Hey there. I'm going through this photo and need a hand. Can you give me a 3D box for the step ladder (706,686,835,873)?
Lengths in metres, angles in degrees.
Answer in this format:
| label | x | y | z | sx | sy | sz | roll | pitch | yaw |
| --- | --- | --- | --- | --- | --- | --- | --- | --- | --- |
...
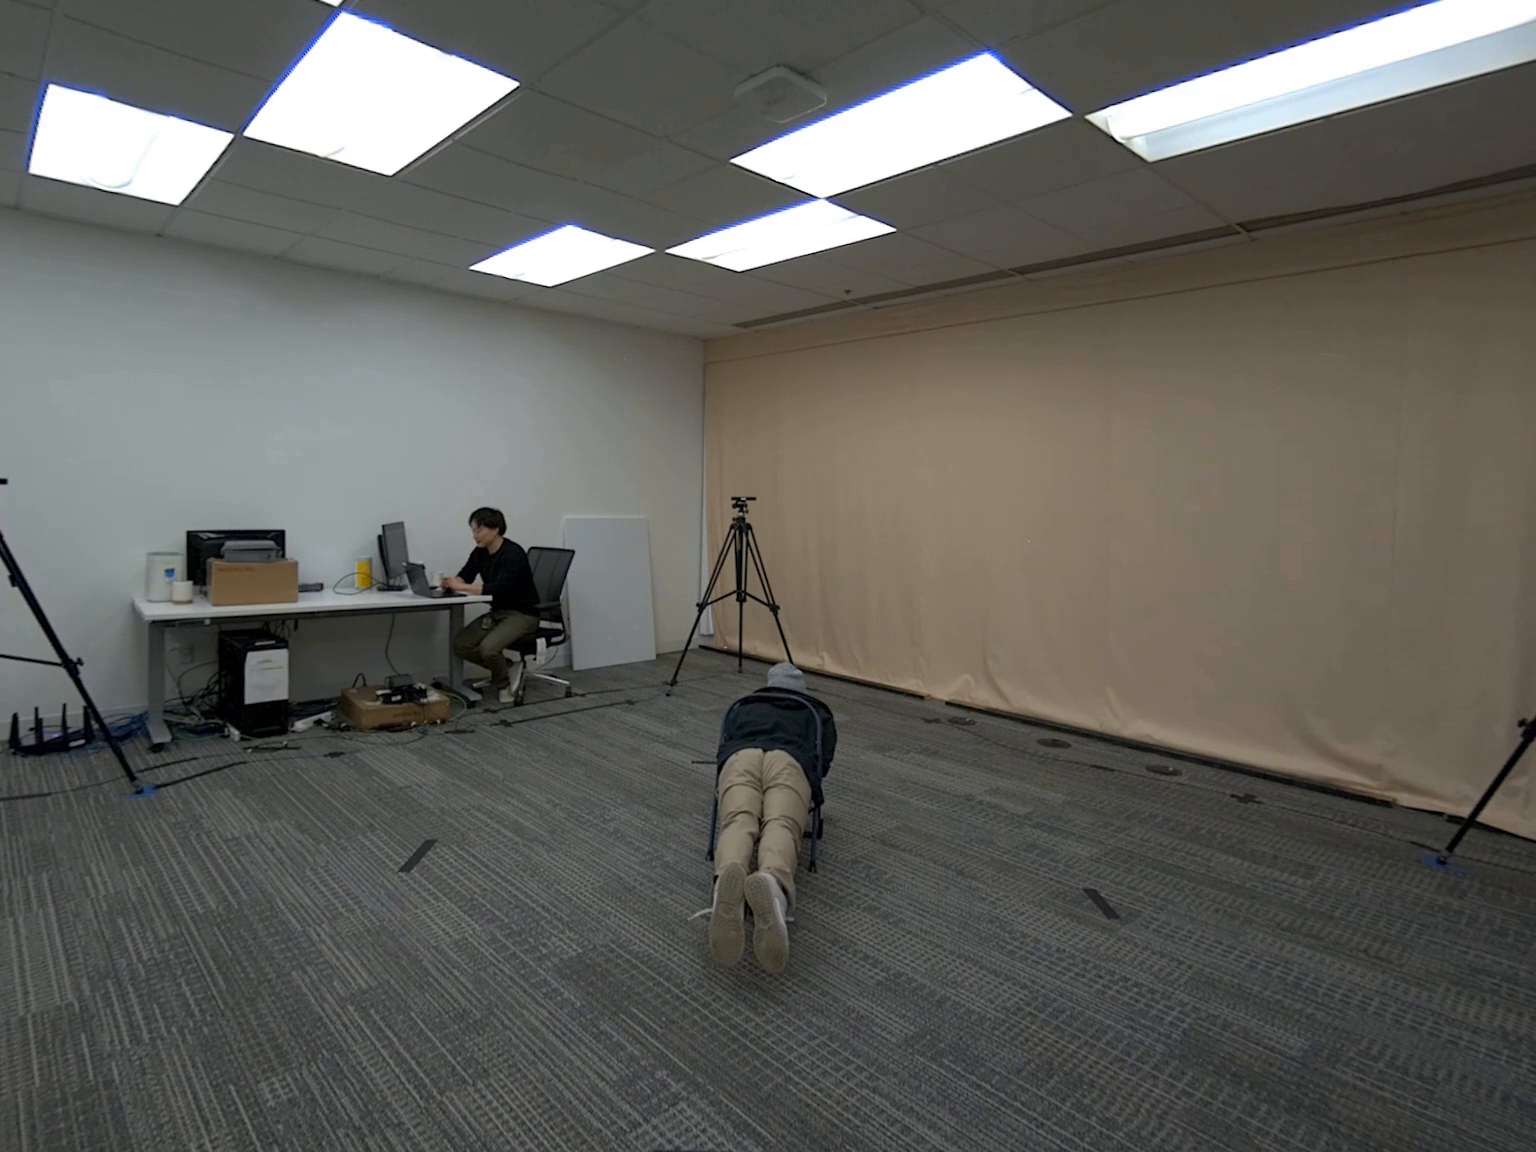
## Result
| label | x | y | z | sx | sy | sz | roll | pitch | yaw |
| --- | --- | --- | --- | --- | --- | --- | --- | --- | --- |
| step ladder | -0.005 | 0.791 | 3.353 | 0.434 | 0.605 | 0.347 | 2 | 2 | 9 |
